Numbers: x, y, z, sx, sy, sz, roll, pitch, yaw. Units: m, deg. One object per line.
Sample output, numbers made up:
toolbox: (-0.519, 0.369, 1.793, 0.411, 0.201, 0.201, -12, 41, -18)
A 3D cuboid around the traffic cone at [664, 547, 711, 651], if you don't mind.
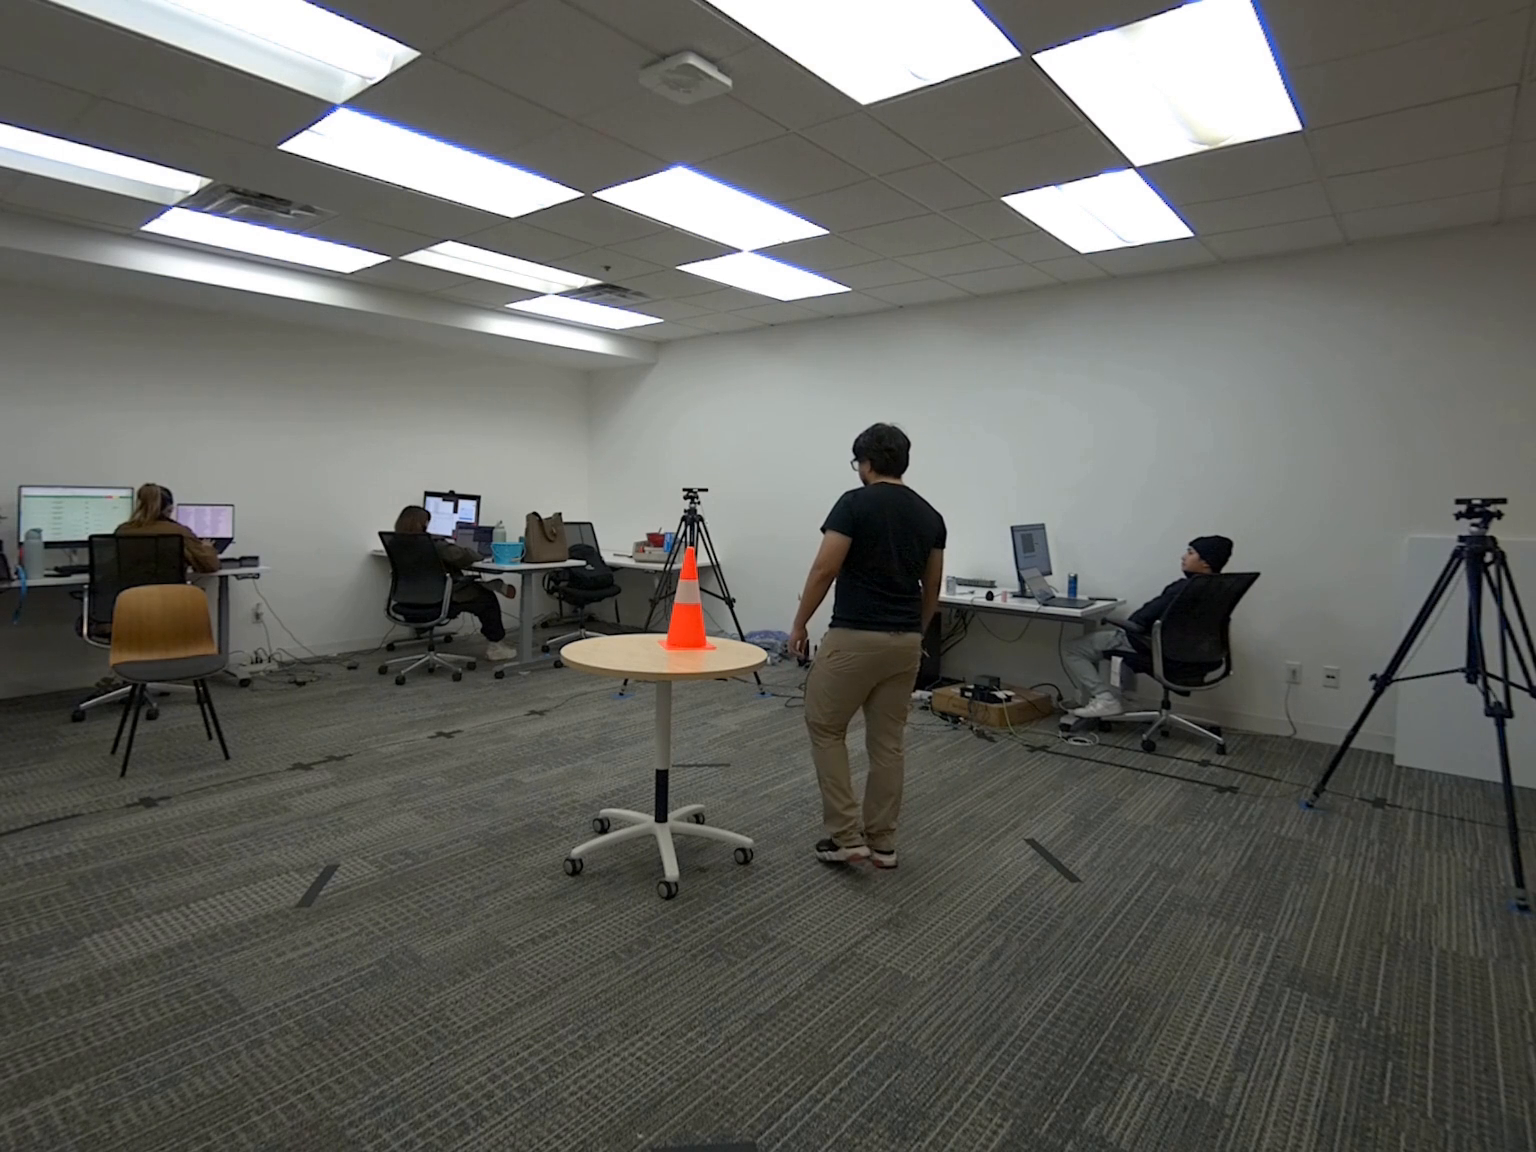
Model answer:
traffic cone: (-0.320, 0.079, 3.302, 0.199, 0.382, 0.210, 0, 4, -20)
